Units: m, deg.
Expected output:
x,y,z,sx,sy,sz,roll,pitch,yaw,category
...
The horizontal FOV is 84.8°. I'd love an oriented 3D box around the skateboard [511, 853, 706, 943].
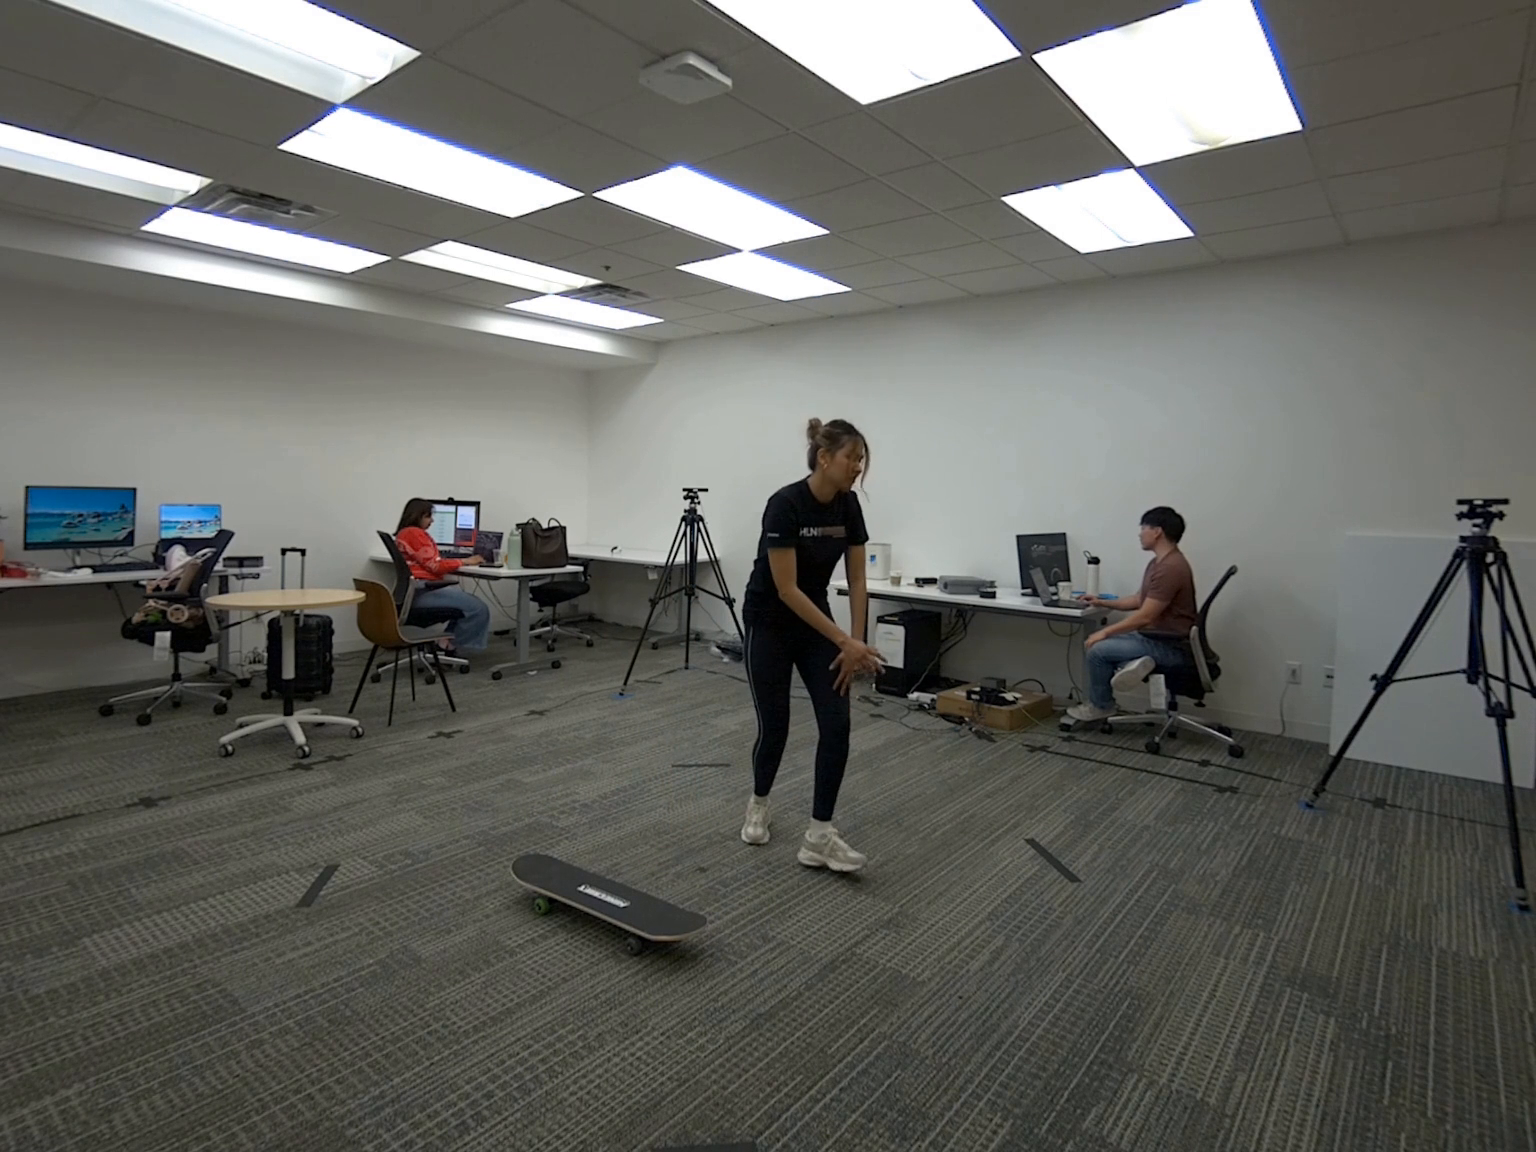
x,y,z,sx,sy,sz,roll,pitch,yaw,category
-0.540,1.043,2.706,0.810,0.110,0.188,4,5,34,skateboard
